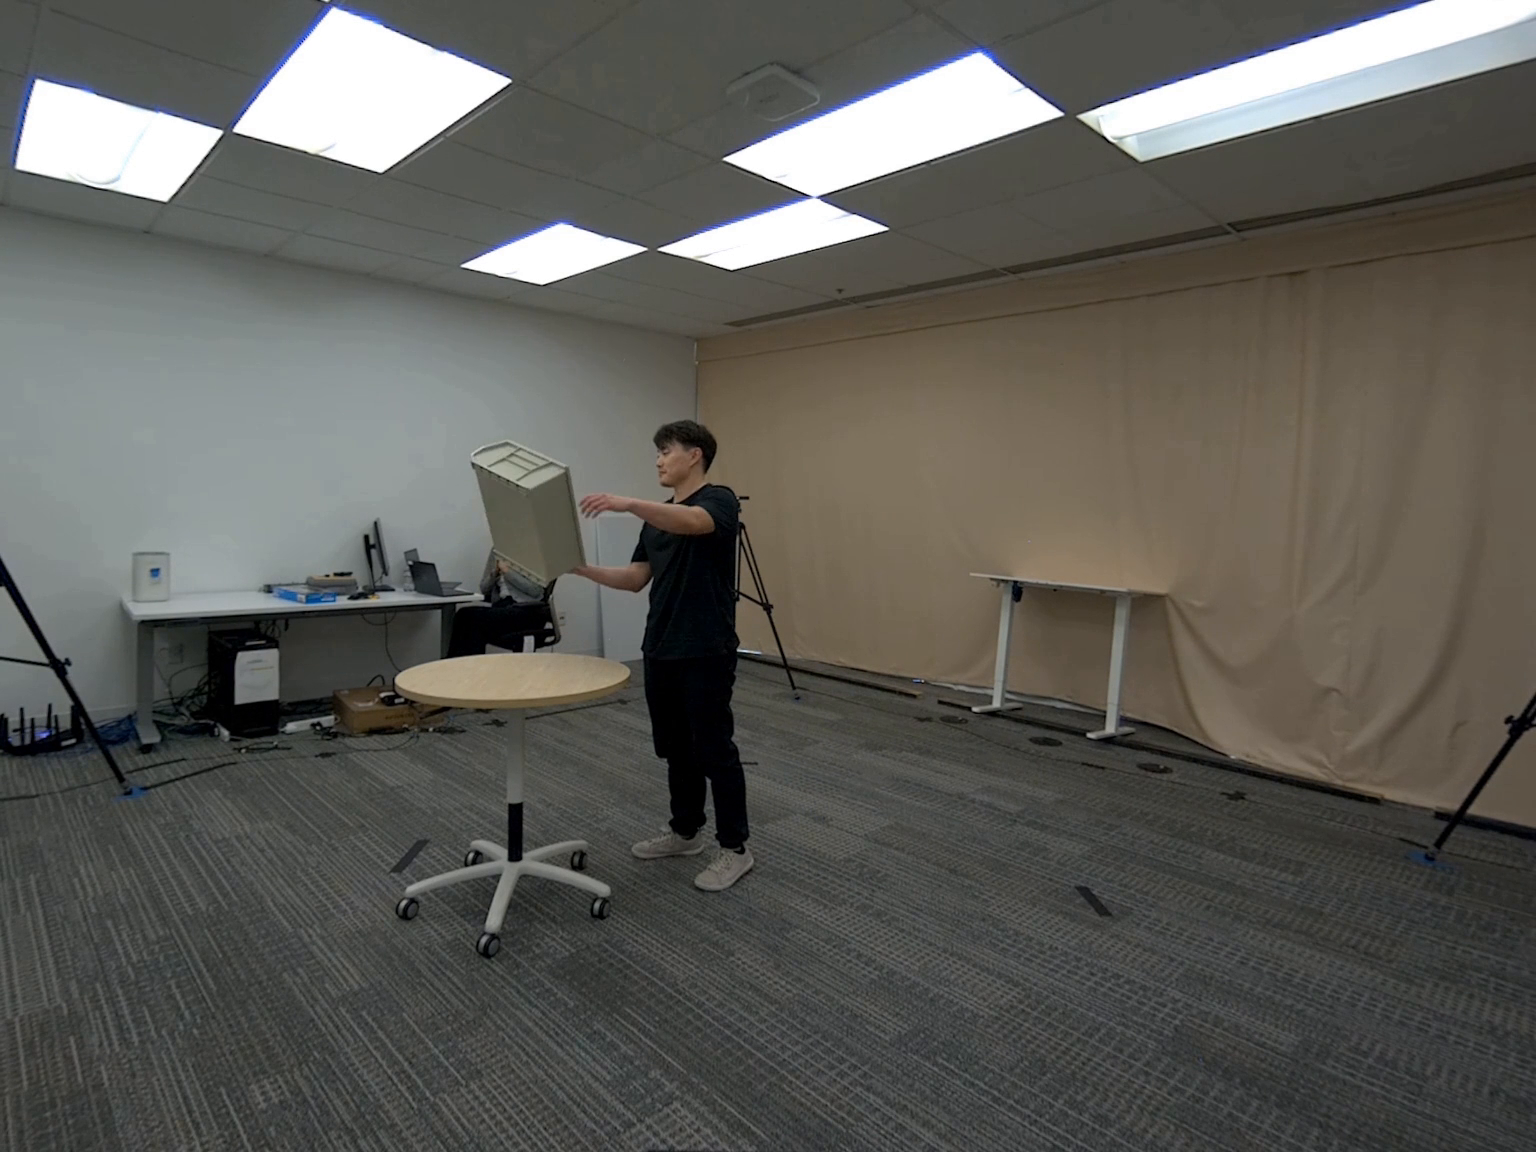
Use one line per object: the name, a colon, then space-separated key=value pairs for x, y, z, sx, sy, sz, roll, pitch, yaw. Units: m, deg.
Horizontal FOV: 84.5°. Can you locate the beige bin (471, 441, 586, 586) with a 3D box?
beige bin: x=-0.878 y=-0.229 z=3.026 sx=0.388 sy=0.413 sz=0.187 roll=26 pitch=44 yaw=34
